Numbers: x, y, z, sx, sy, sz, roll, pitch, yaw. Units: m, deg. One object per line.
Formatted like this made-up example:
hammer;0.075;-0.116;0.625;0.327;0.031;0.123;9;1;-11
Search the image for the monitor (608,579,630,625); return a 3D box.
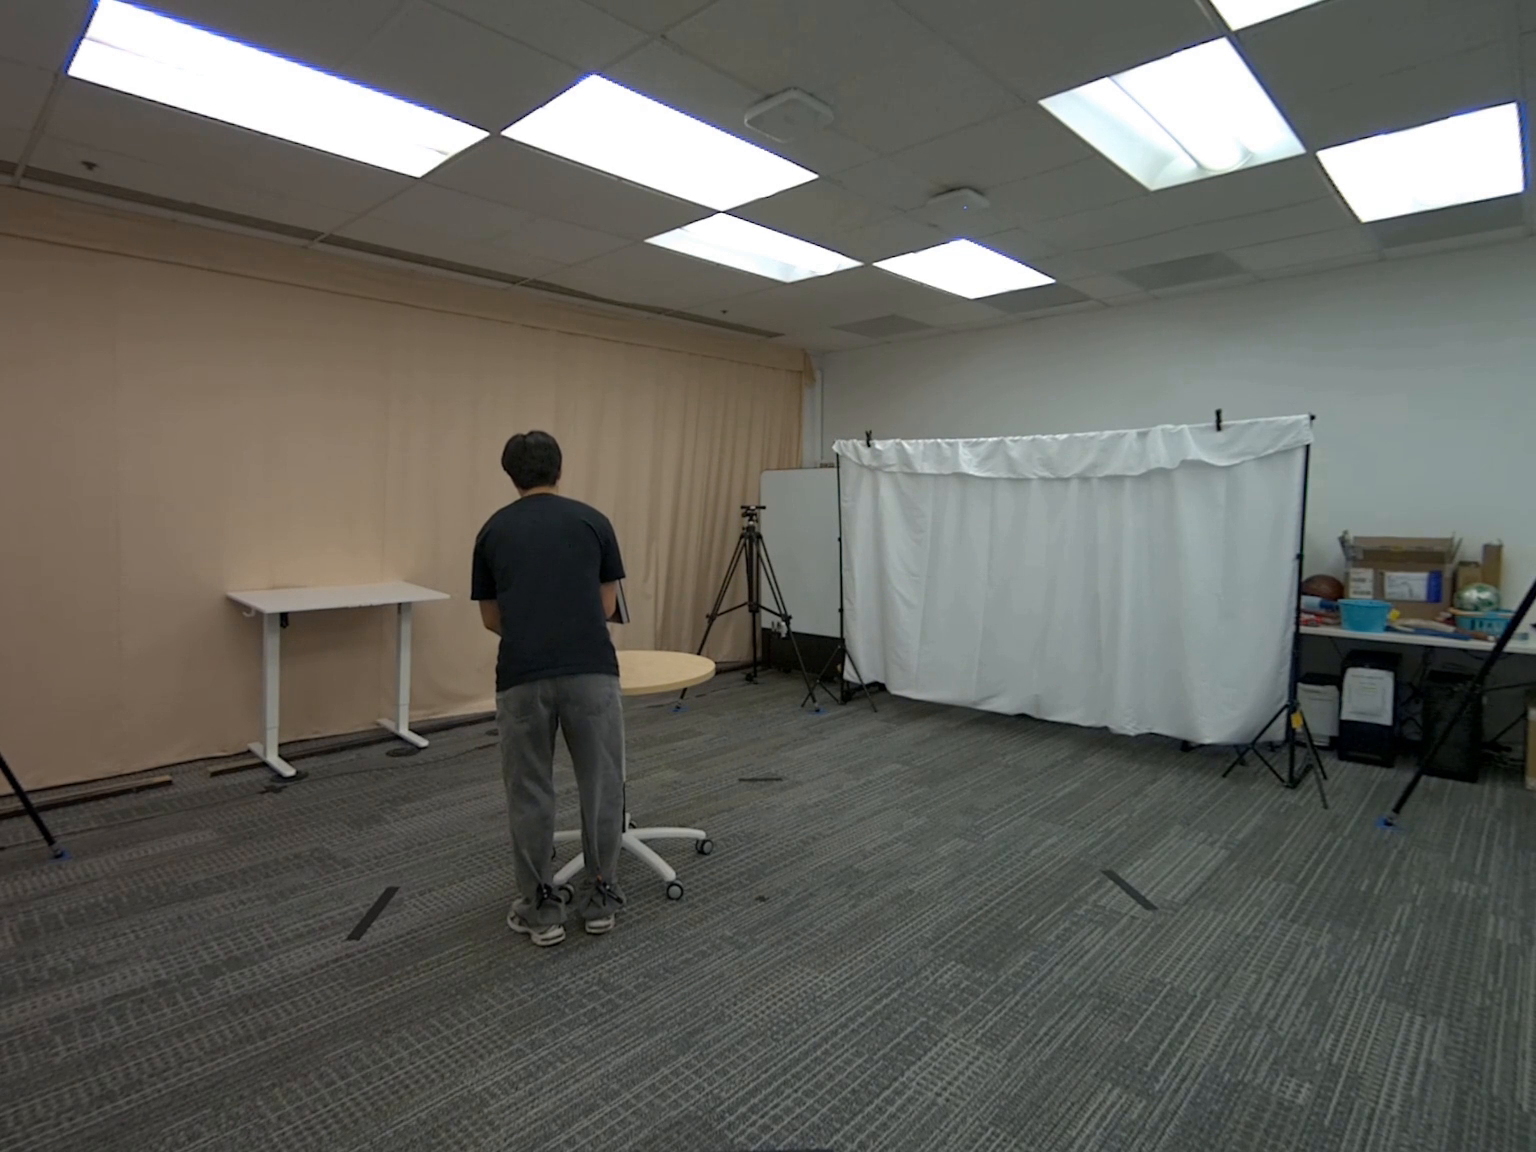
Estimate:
monitor;-0.731;0.091;3.181;0.216;0.566;0.578;2;0;-33
